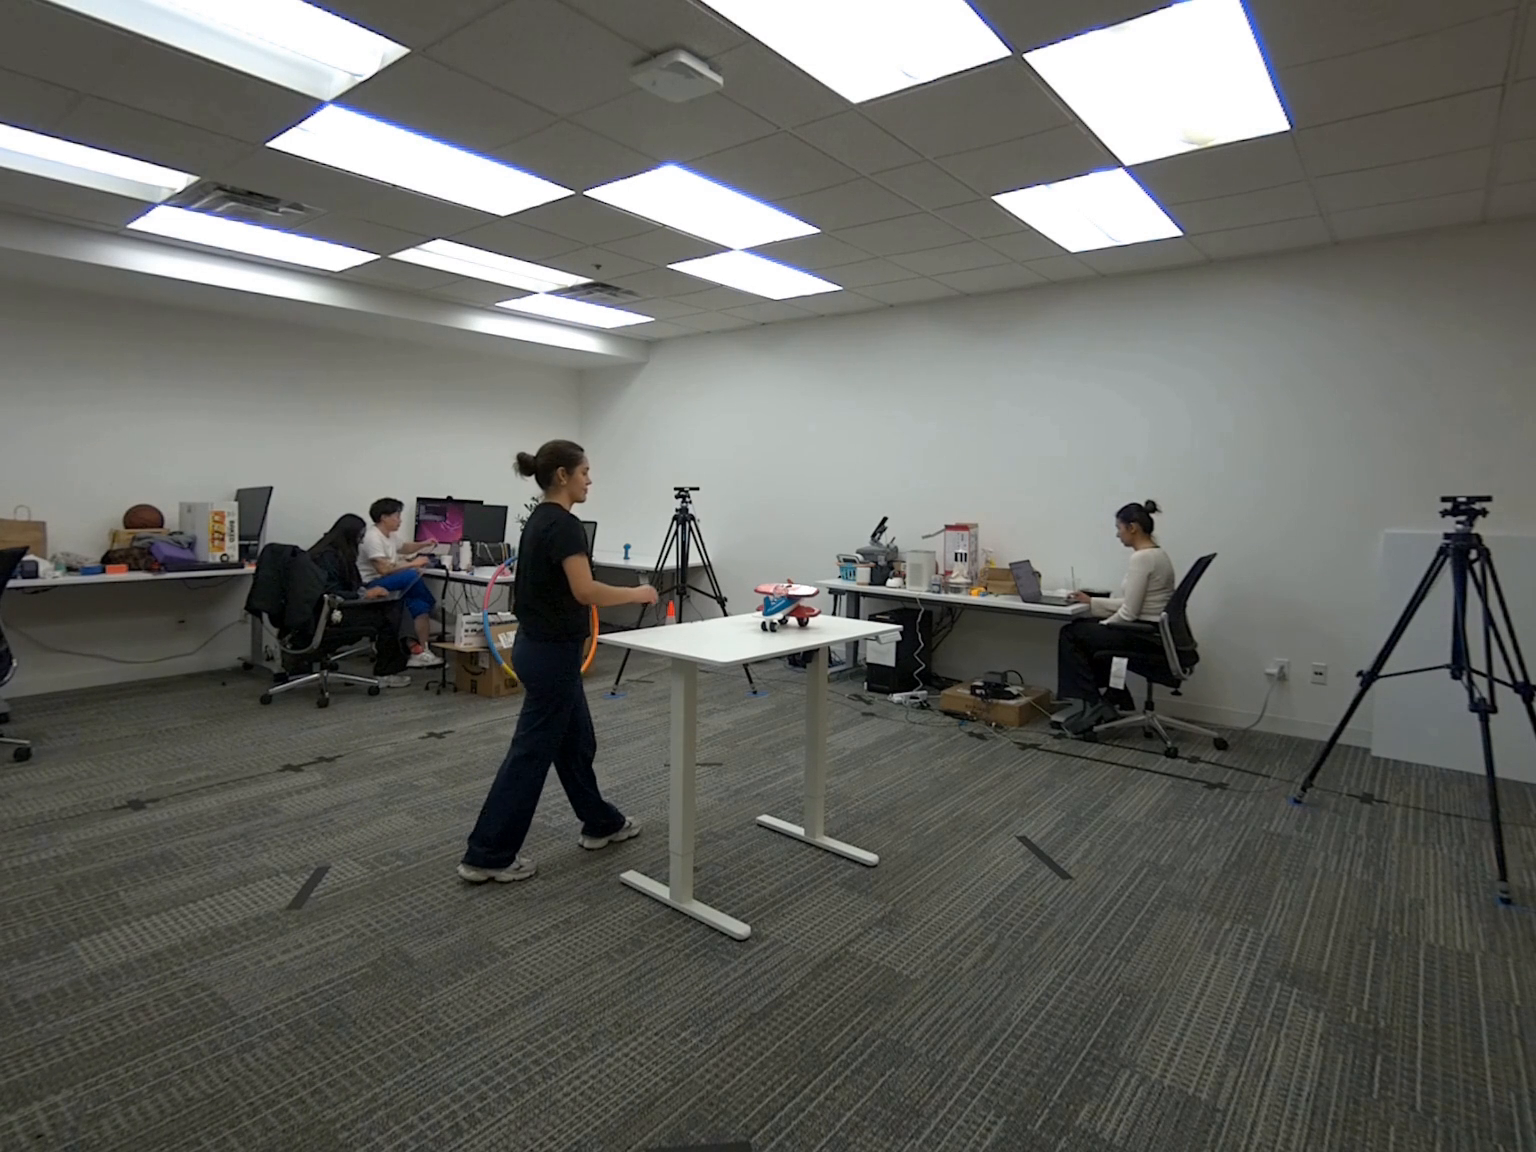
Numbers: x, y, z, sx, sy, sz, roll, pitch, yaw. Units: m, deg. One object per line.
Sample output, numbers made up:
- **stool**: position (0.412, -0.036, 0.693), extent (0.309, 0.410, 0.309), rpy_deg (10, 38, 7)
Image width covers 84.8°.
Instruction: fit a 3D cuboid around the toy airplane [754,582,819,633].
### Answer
- **toy airplane**: position (0.083, 0.114, 3.116), extent (0.252, 0.156, 0.259), rpy_deg (1, 4, 4)
